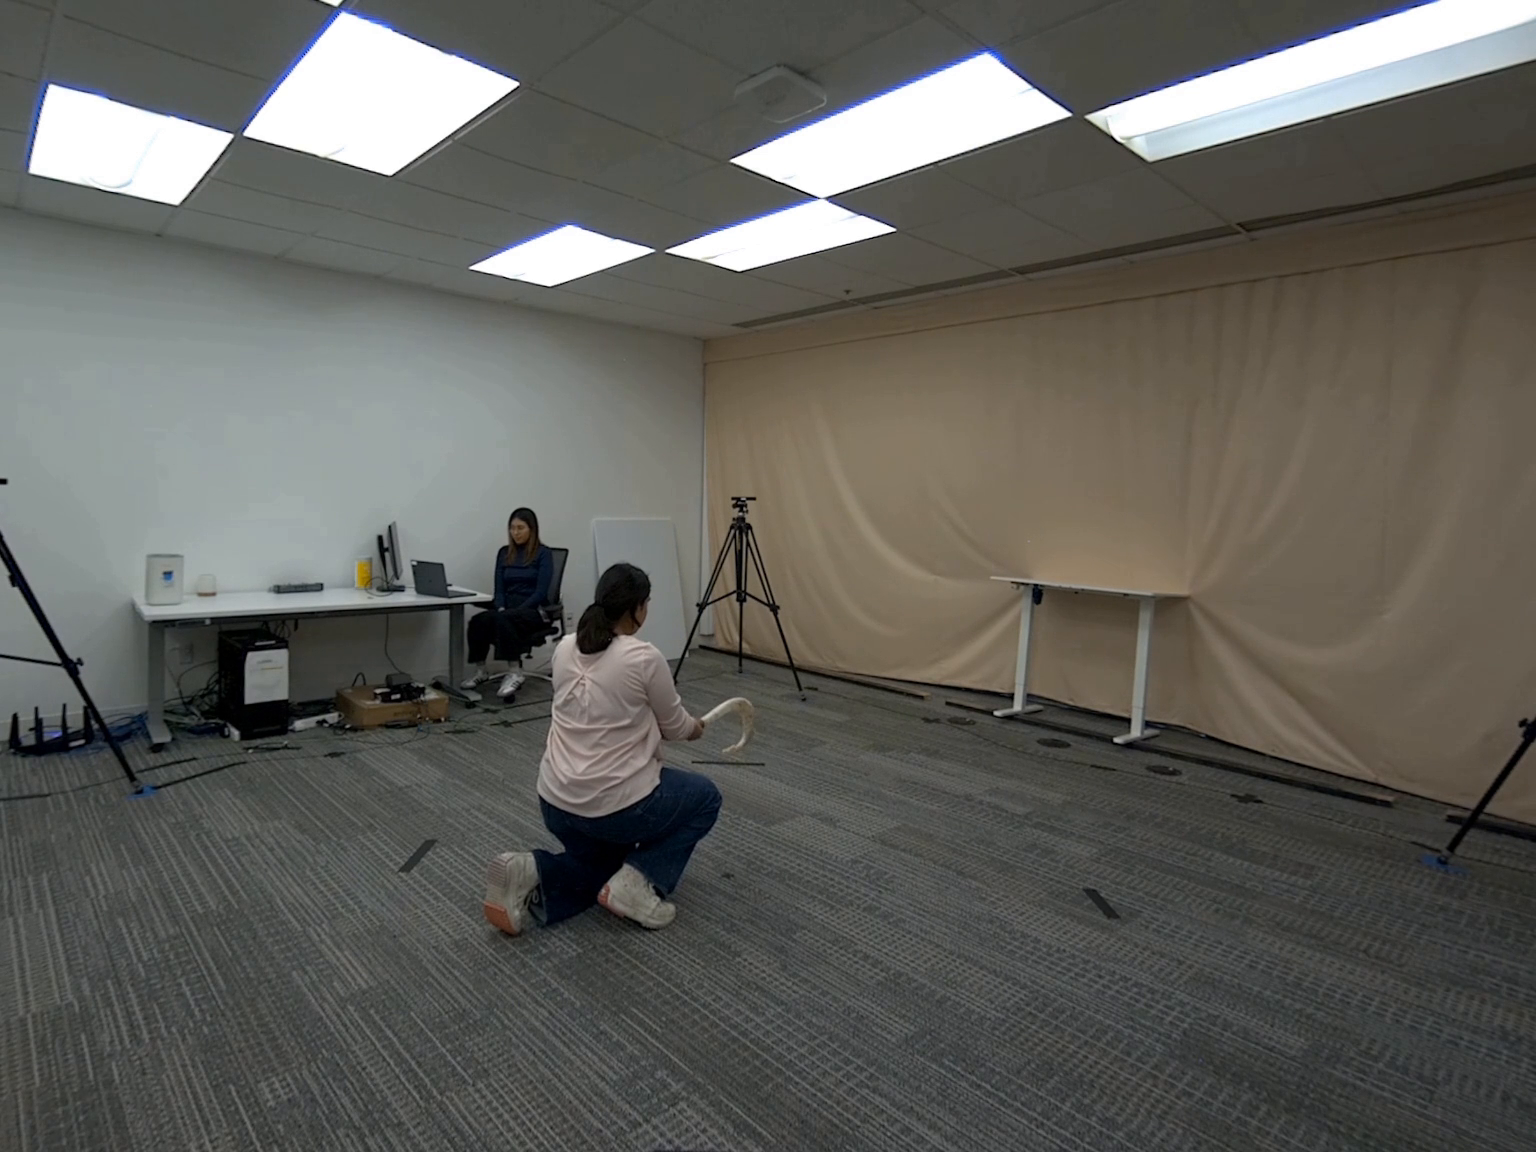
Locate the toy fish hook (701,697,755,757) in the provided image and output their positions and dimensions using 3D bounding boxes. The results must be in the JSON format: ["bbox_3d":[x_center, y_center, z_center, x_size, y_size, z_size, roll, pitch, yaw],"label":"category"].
[{"bbox_3d":[-0.220,0.603,3.282,0.049,0.224,0.496,-7,1,43],"label":"toy fish hook"}]
